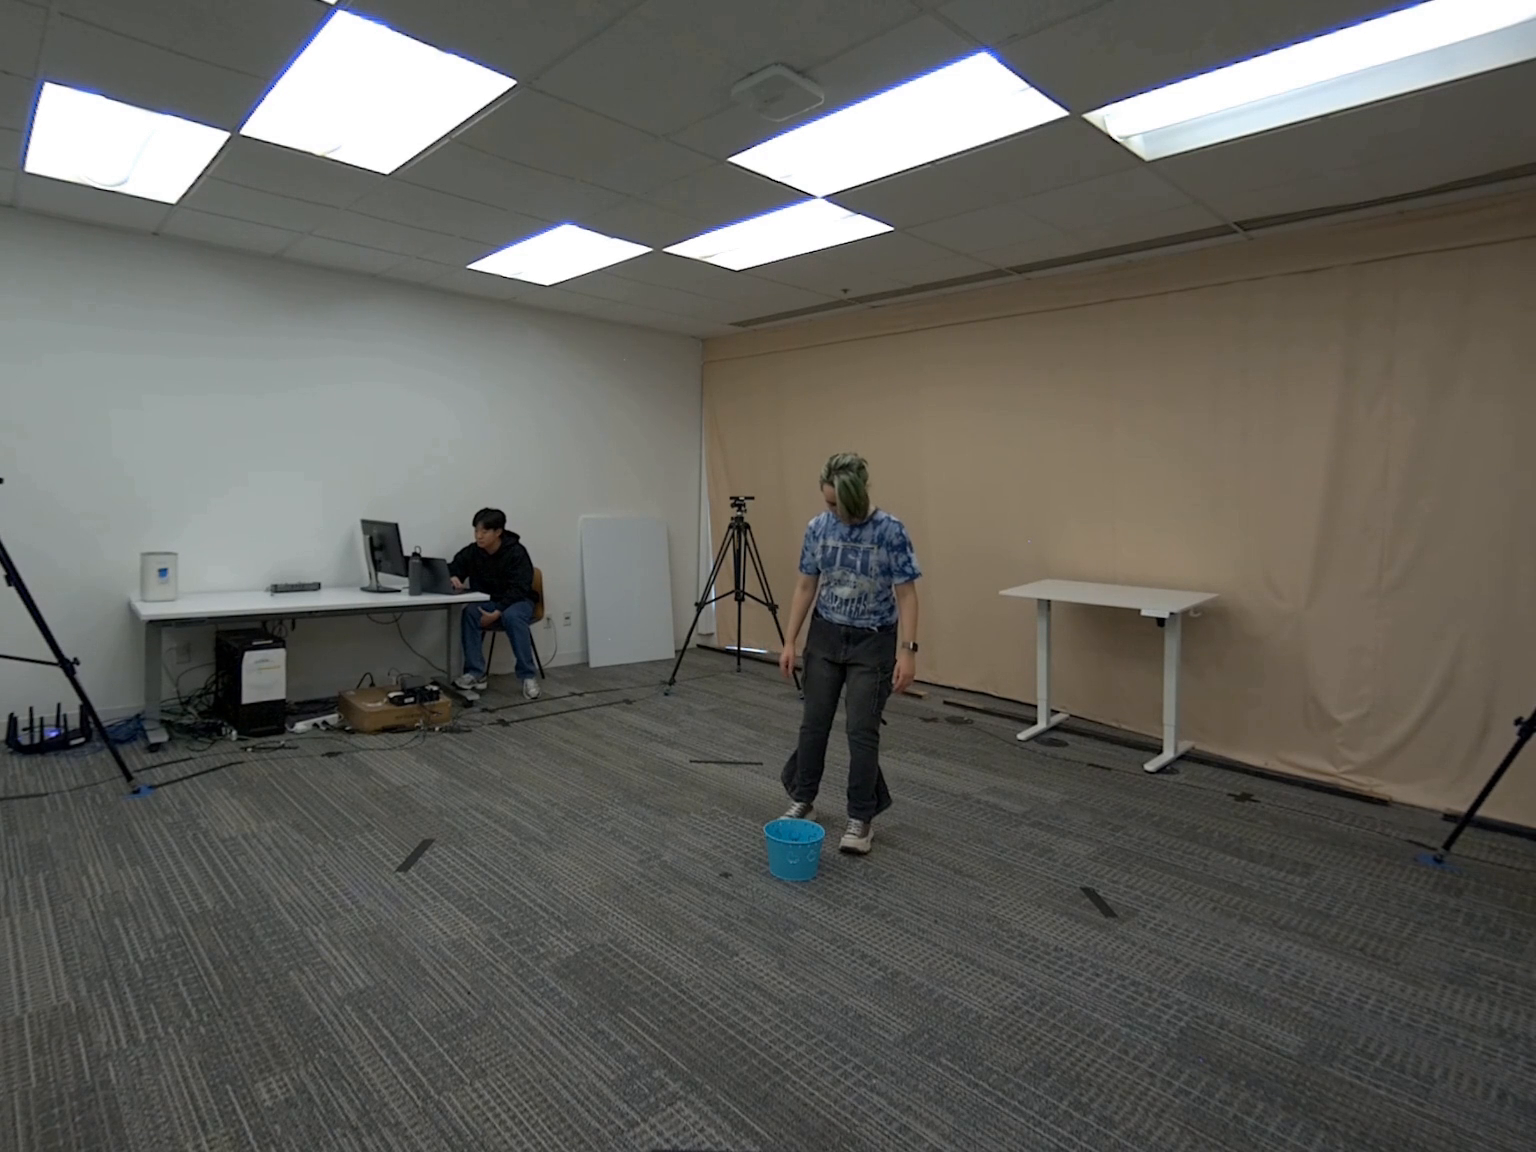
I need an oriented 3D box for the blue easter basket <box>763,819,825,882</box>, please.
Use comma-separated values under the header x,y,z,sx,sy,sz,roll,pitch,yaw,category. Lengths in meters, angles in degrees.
x,y,z,sx,sy,sz,roll,pitch,yaw,category
0.094,1.024,3.154,0.243,0.155,0.244,1,5,-1,blue easter basket
